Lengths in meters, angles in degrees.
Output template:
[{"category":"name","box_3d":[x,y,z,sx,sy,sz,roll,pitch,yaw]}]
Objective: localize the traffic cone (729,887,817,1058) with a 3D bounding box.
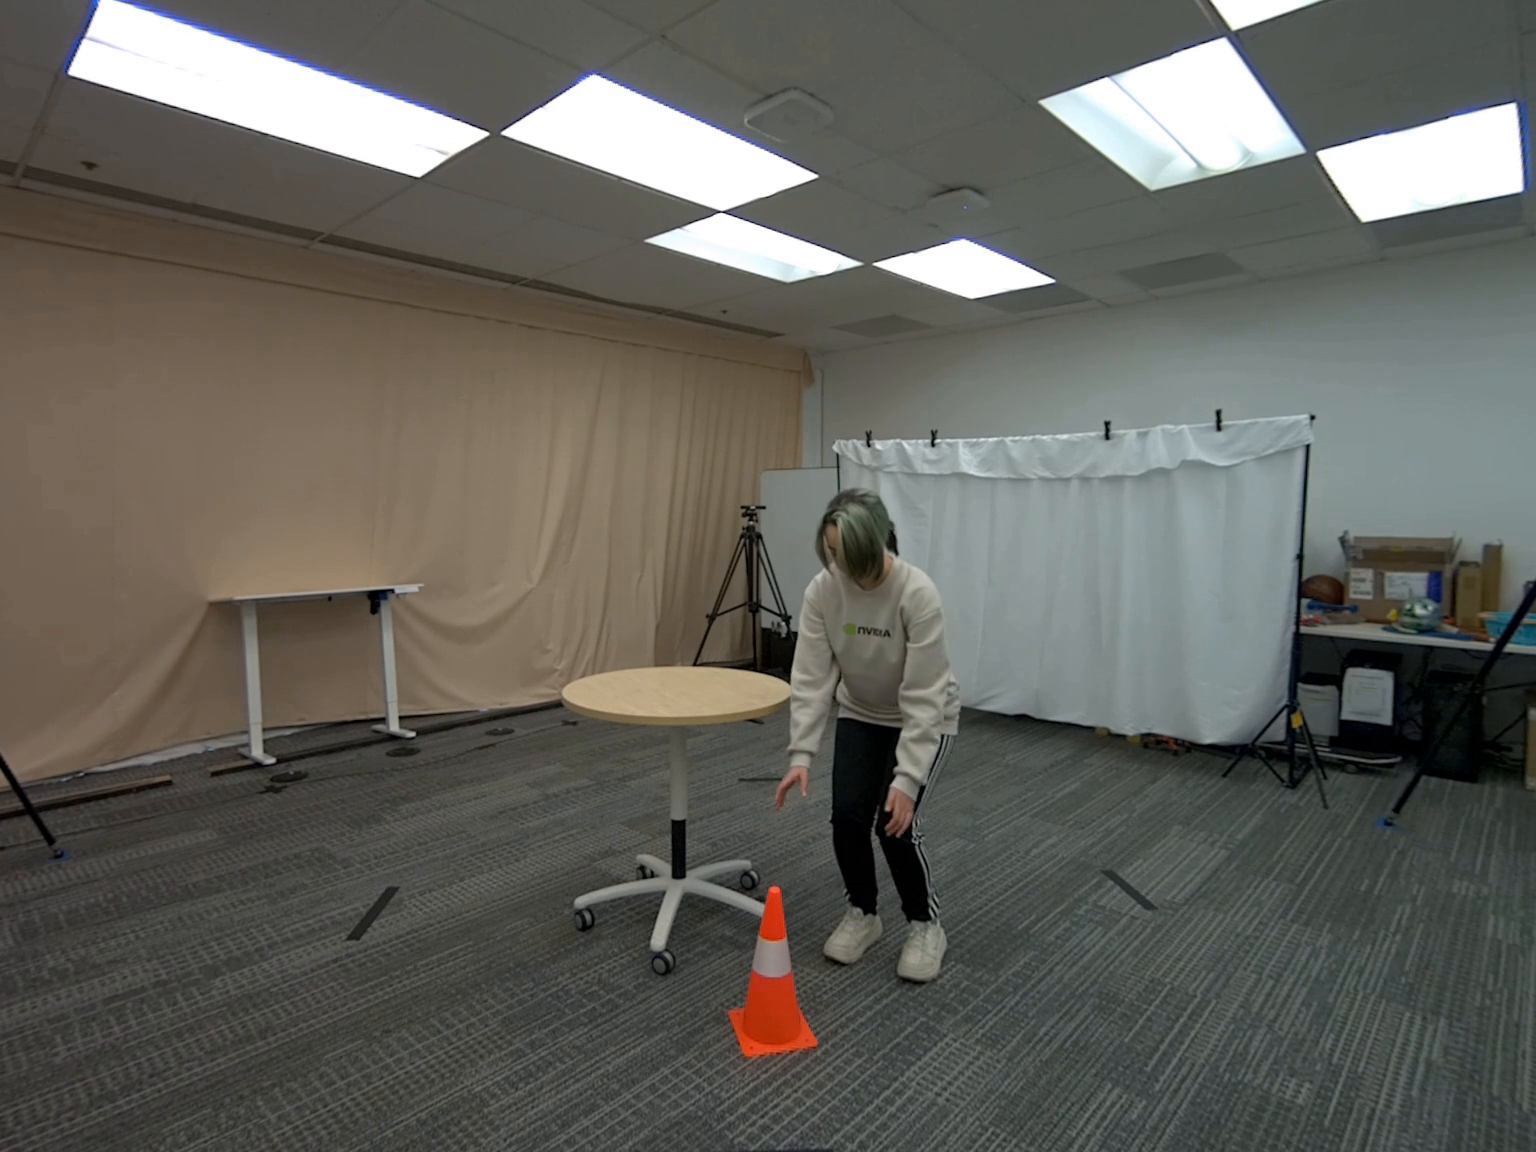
[{"category":"traffic cone","box_3d":[0.012,1.025,2.229,0.203,0.383,0.206,0,3,-11]}]
